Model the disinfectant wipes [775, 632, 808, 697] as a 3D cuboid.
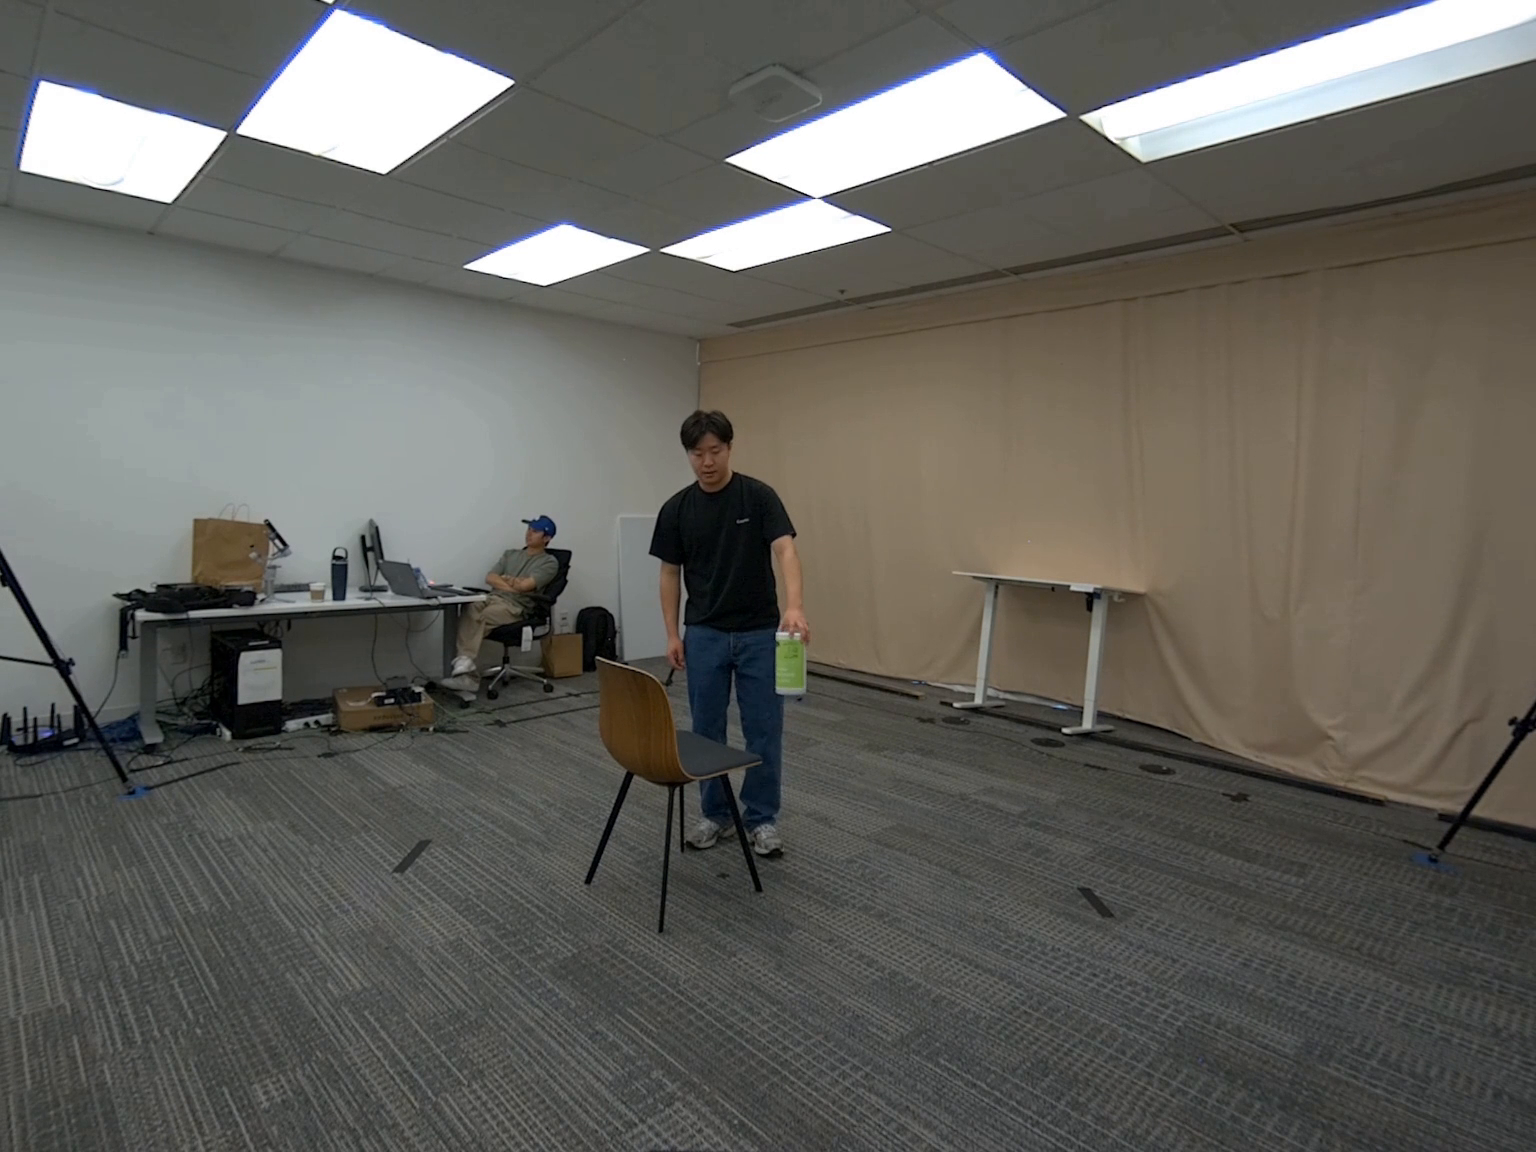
[{"bbox_3d":[0.078,0.308,2.979,0.118,0.218,0.117,-1,-2,-1],"label":"disinfectant wipes"}]
